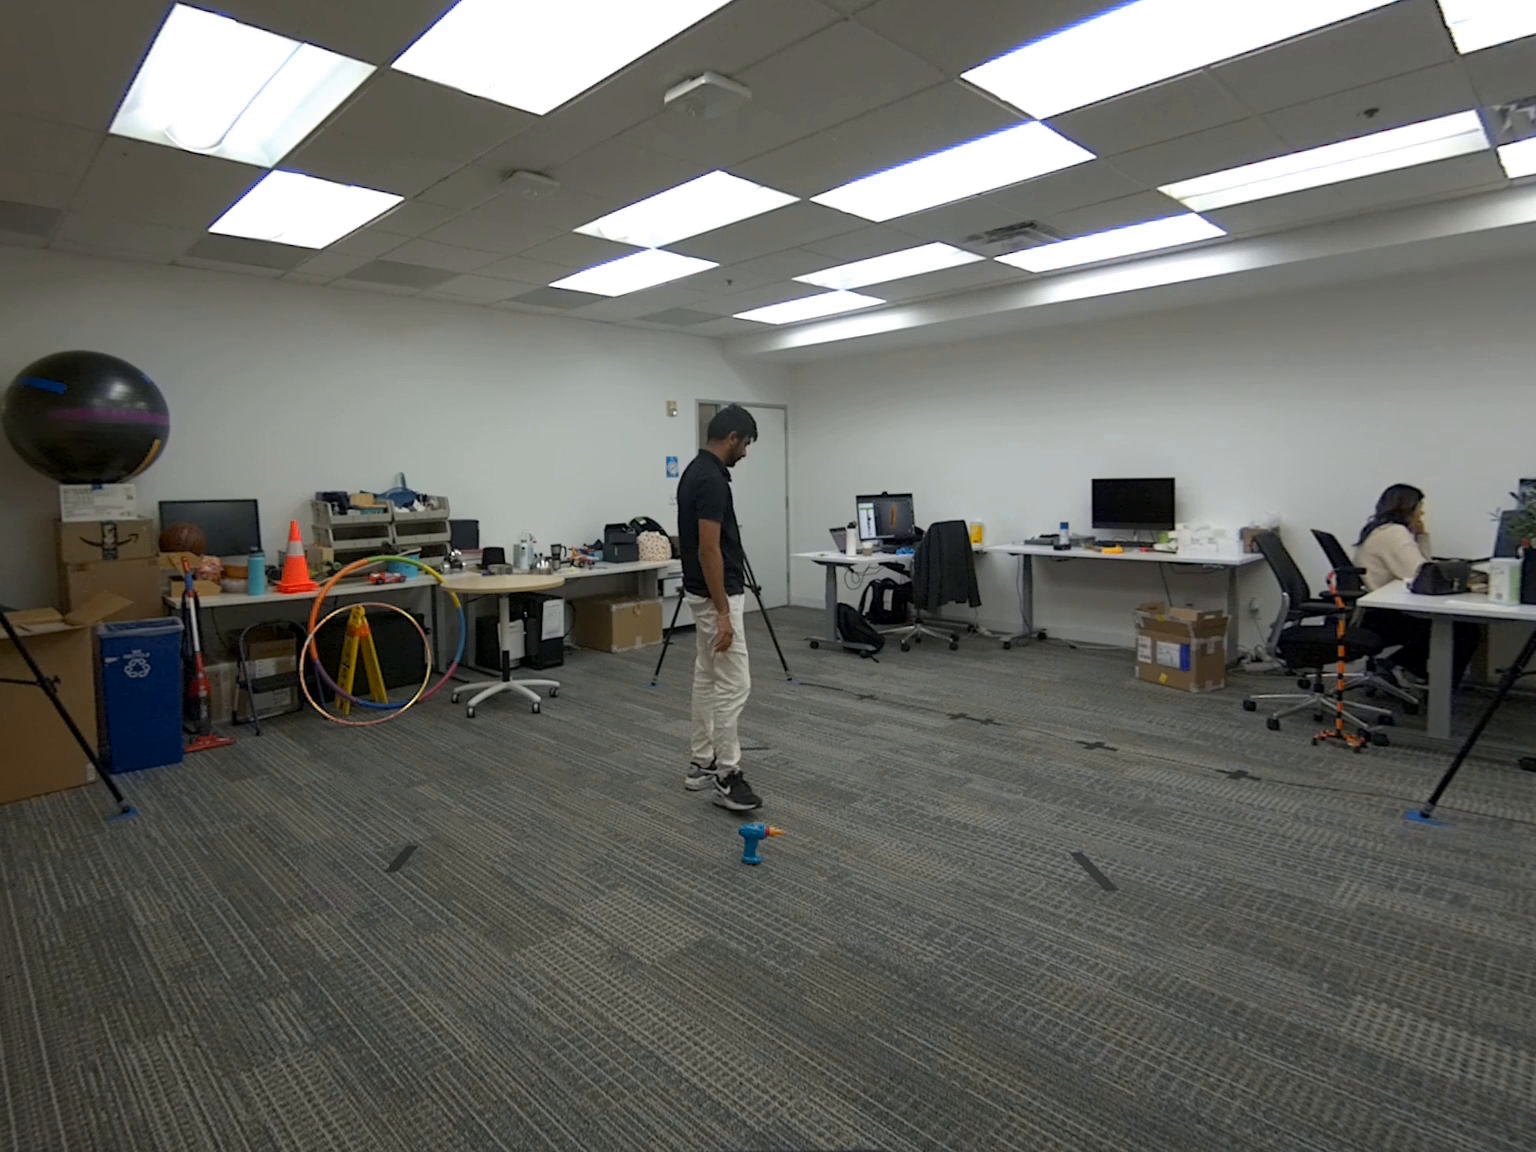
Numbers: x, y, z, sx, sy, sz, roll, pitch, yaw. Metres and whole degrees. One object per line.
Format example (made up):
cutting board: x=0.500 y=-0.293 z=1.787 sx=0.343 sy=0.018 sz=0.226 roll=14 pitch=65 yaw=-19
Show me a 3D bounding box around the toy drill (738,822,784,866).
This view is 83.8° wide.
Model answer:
toy drill: x=-0.024 y=0.961 z=3.110 sx=0.170 sy=0.145 sz=0.061 roll=0 pitch=3 yaw=1
